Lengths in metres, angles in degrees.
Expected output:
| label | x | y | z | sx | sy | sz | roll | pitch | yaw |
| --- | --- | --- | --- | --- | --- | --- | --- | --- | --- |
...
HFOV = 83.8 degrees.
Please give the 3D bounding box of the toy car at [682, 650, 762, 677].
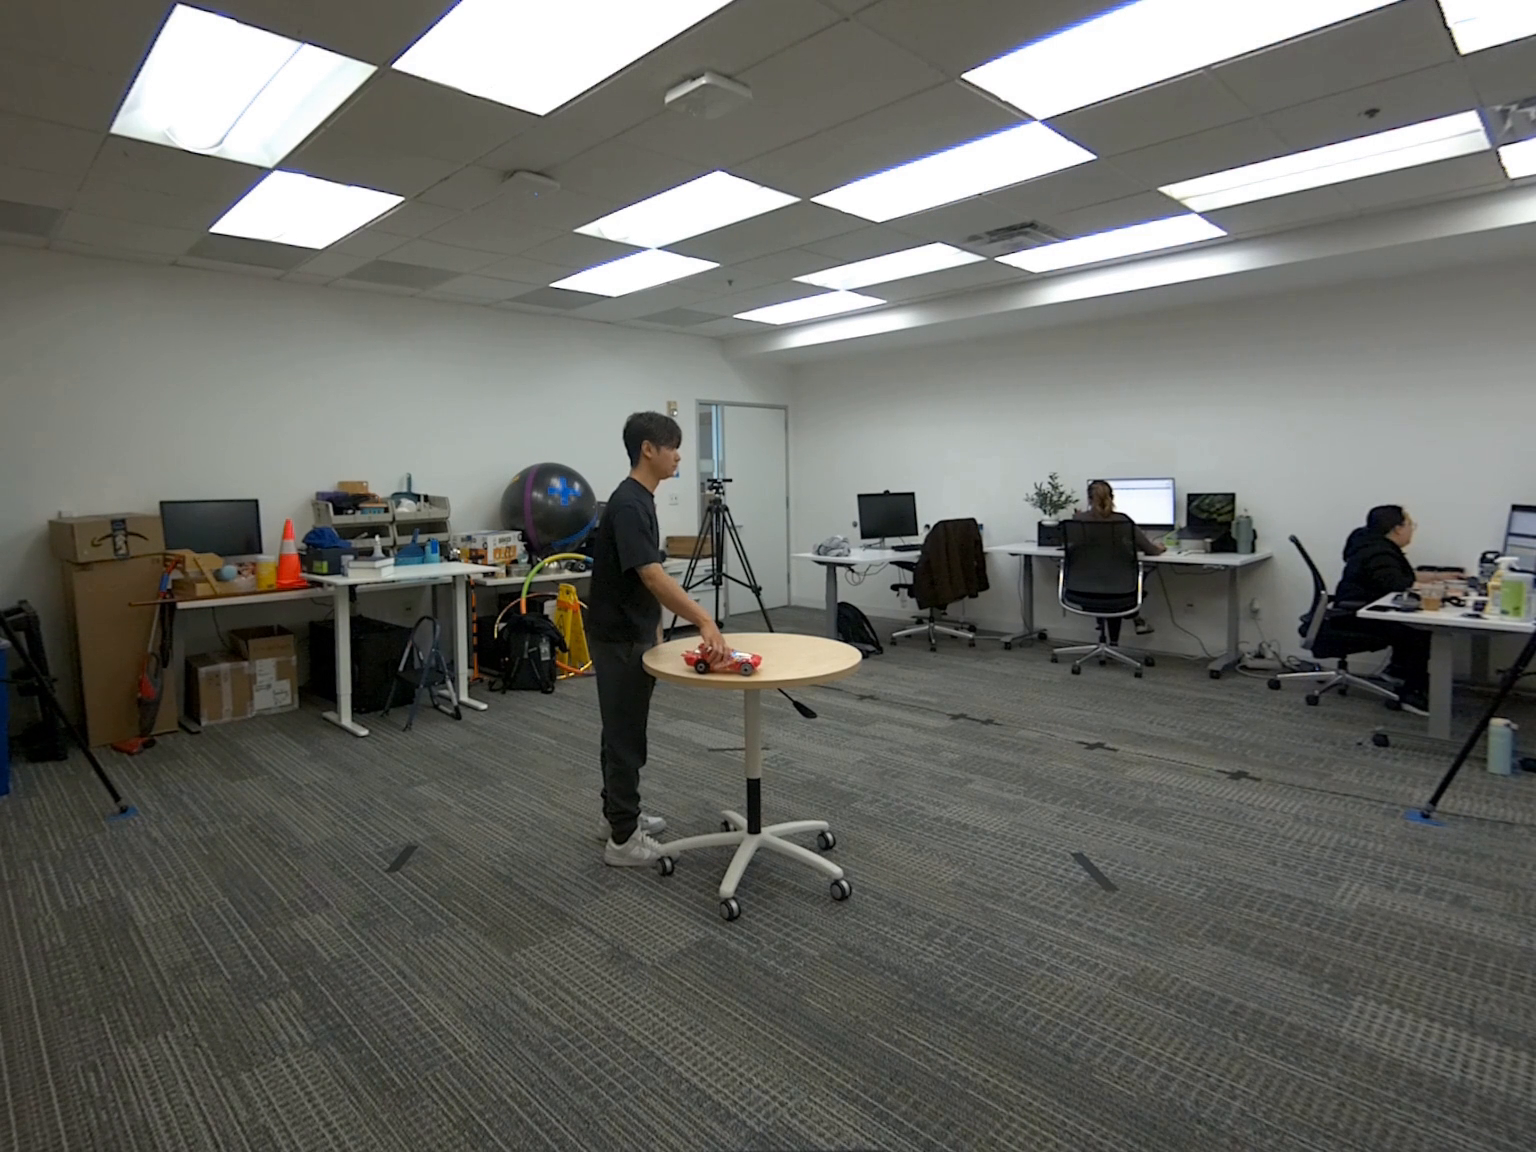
| label | x | y | z | sx | sy | sz | roll | pitch | yaw |
| --- | --- | --- | --- | --- | --- | --- | --- | --- | --- |
| toy car | -0.147 | 0.274 | 2.749 | 0.257 | 0.083 | 0.130 | 11 | 8 | 8 |
